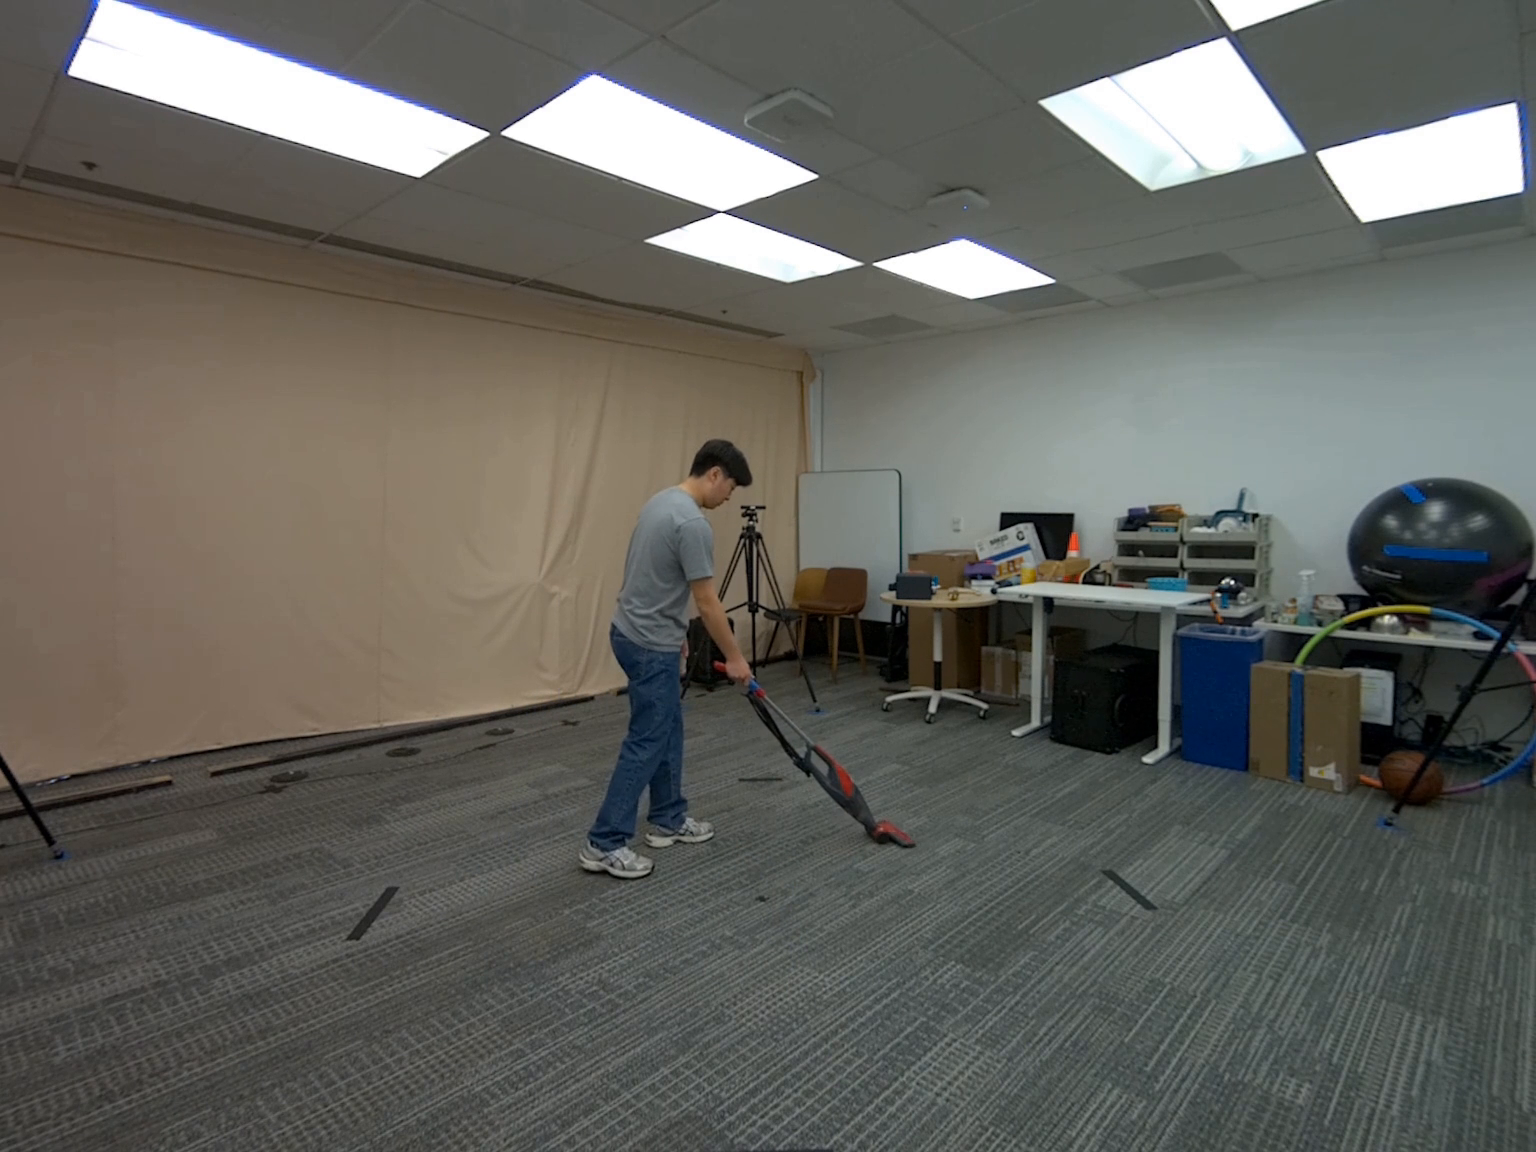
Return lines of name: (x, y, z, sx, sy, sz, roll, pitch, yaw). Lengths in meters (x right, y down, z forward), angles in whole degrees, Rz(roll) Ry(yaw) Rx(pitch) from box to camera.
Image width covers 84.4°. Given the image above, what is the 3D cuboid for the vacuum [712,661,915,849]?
vacuum: (0.151, 0.715, 3.418, 0.143, 1.032, 0.257, -45, 14, -12)
